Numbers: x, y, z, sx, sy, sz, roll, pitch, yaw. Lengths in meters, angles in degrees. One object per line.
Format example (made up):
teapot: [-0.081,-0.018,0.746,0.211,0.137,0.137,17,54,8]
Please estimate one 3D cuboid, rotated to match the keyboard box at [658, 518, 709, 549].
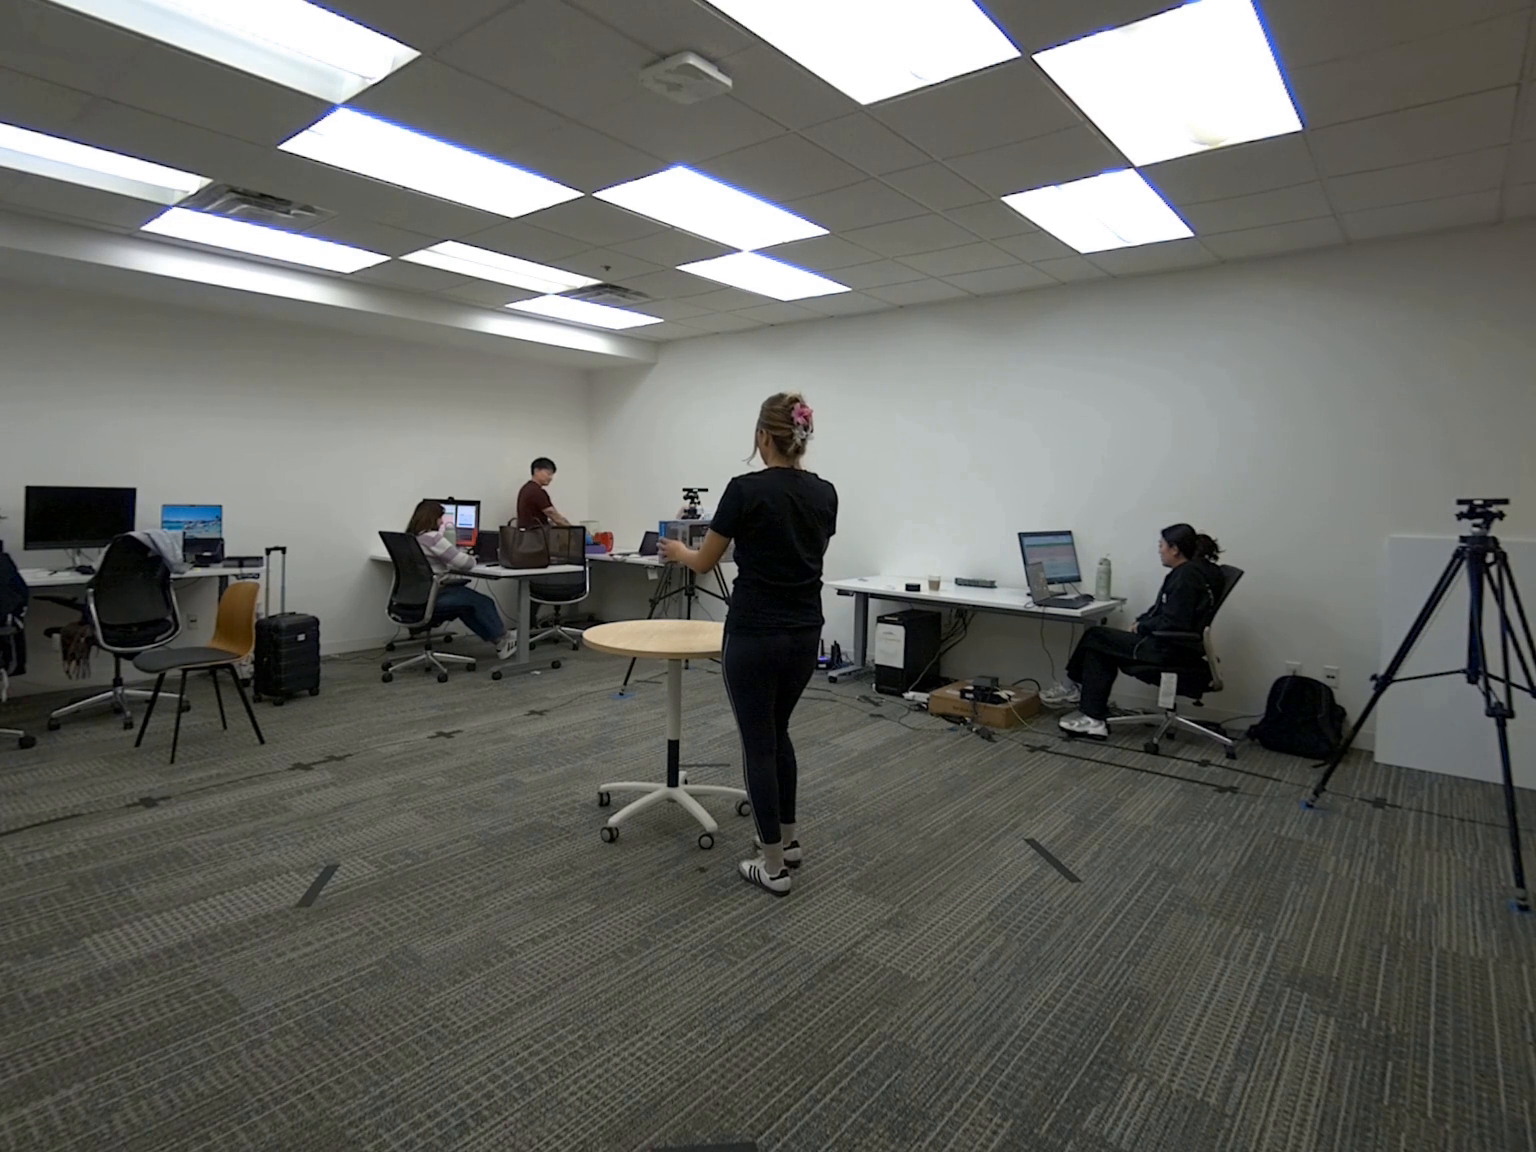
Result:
keyboard box: [-0.236,-0.139,3.415,0.425,0.175,0.061,-3,7,-31]
